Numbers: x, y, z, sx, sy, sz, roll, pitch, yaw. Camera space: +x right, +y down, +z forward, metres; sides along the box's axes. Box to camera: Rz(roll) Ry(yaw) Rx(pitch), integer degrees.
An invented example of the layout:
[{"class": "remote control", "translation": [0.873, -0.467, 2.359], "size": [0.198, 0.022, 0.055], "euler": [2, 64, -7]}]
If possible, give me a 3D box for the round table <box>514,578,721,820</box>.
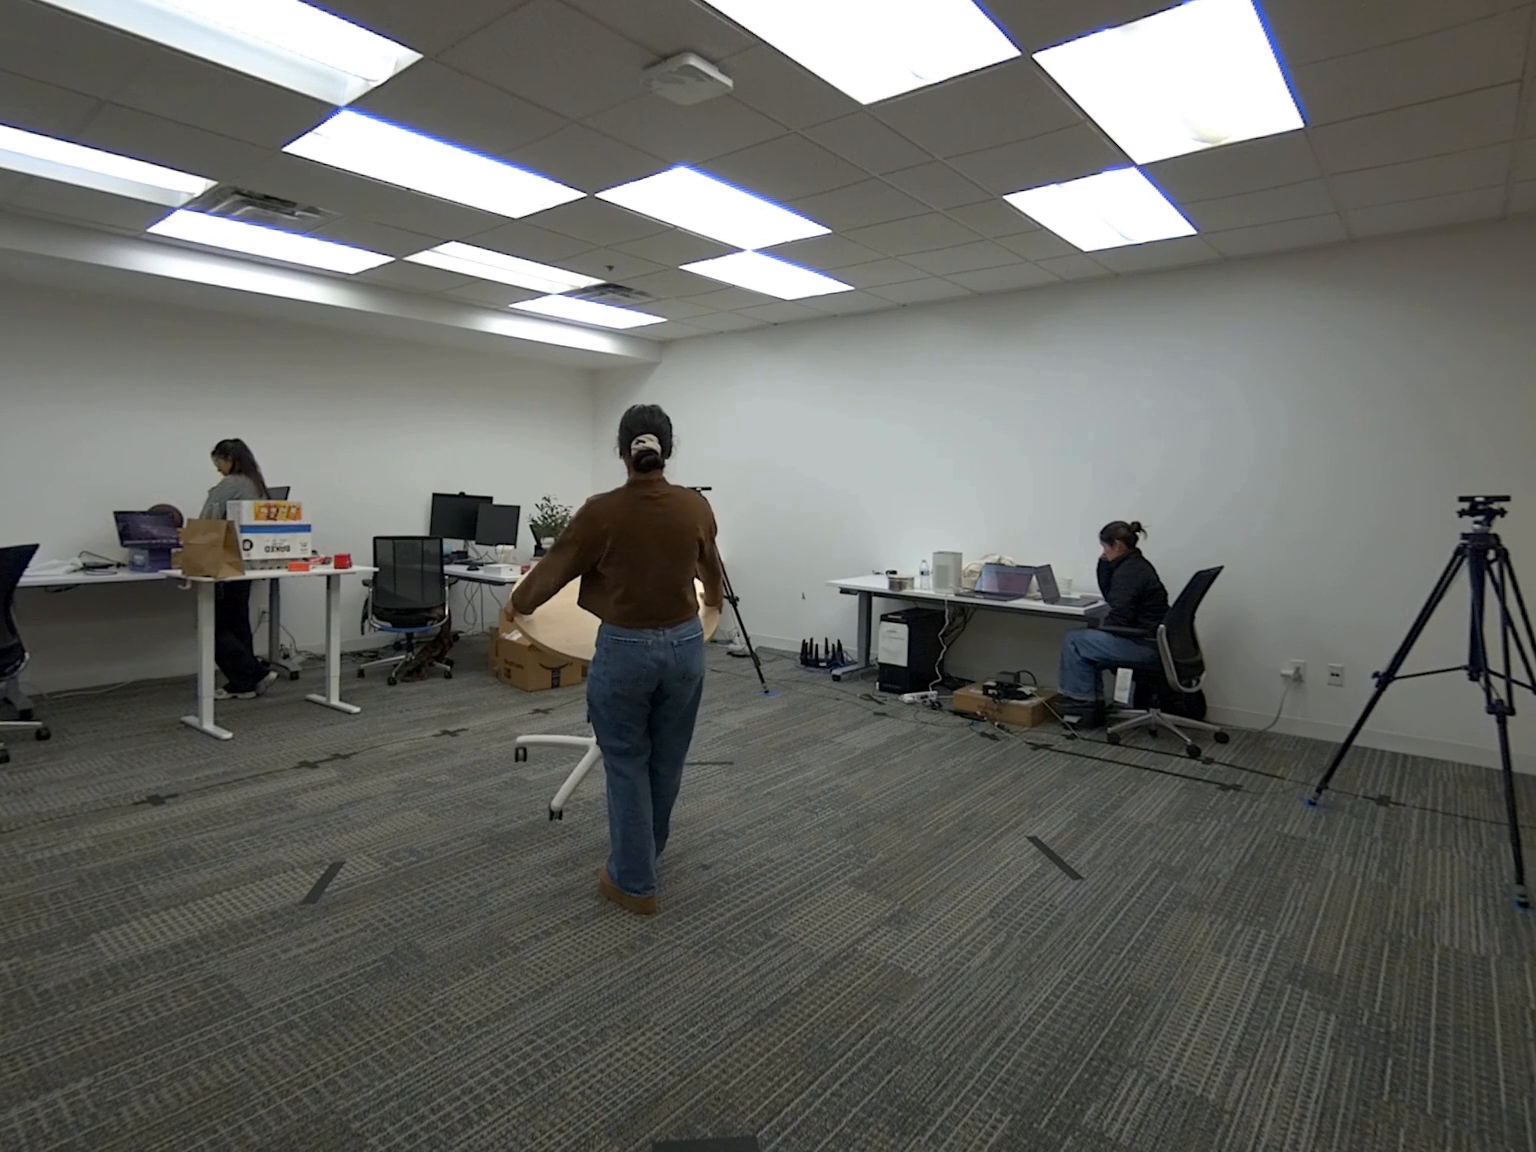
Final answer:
[{"class": "round table", "translation": [-0.644, 0.432, 3.309], "size": [0.781, 0.772, 0.804], "euler": [7, 26, -6]}]
